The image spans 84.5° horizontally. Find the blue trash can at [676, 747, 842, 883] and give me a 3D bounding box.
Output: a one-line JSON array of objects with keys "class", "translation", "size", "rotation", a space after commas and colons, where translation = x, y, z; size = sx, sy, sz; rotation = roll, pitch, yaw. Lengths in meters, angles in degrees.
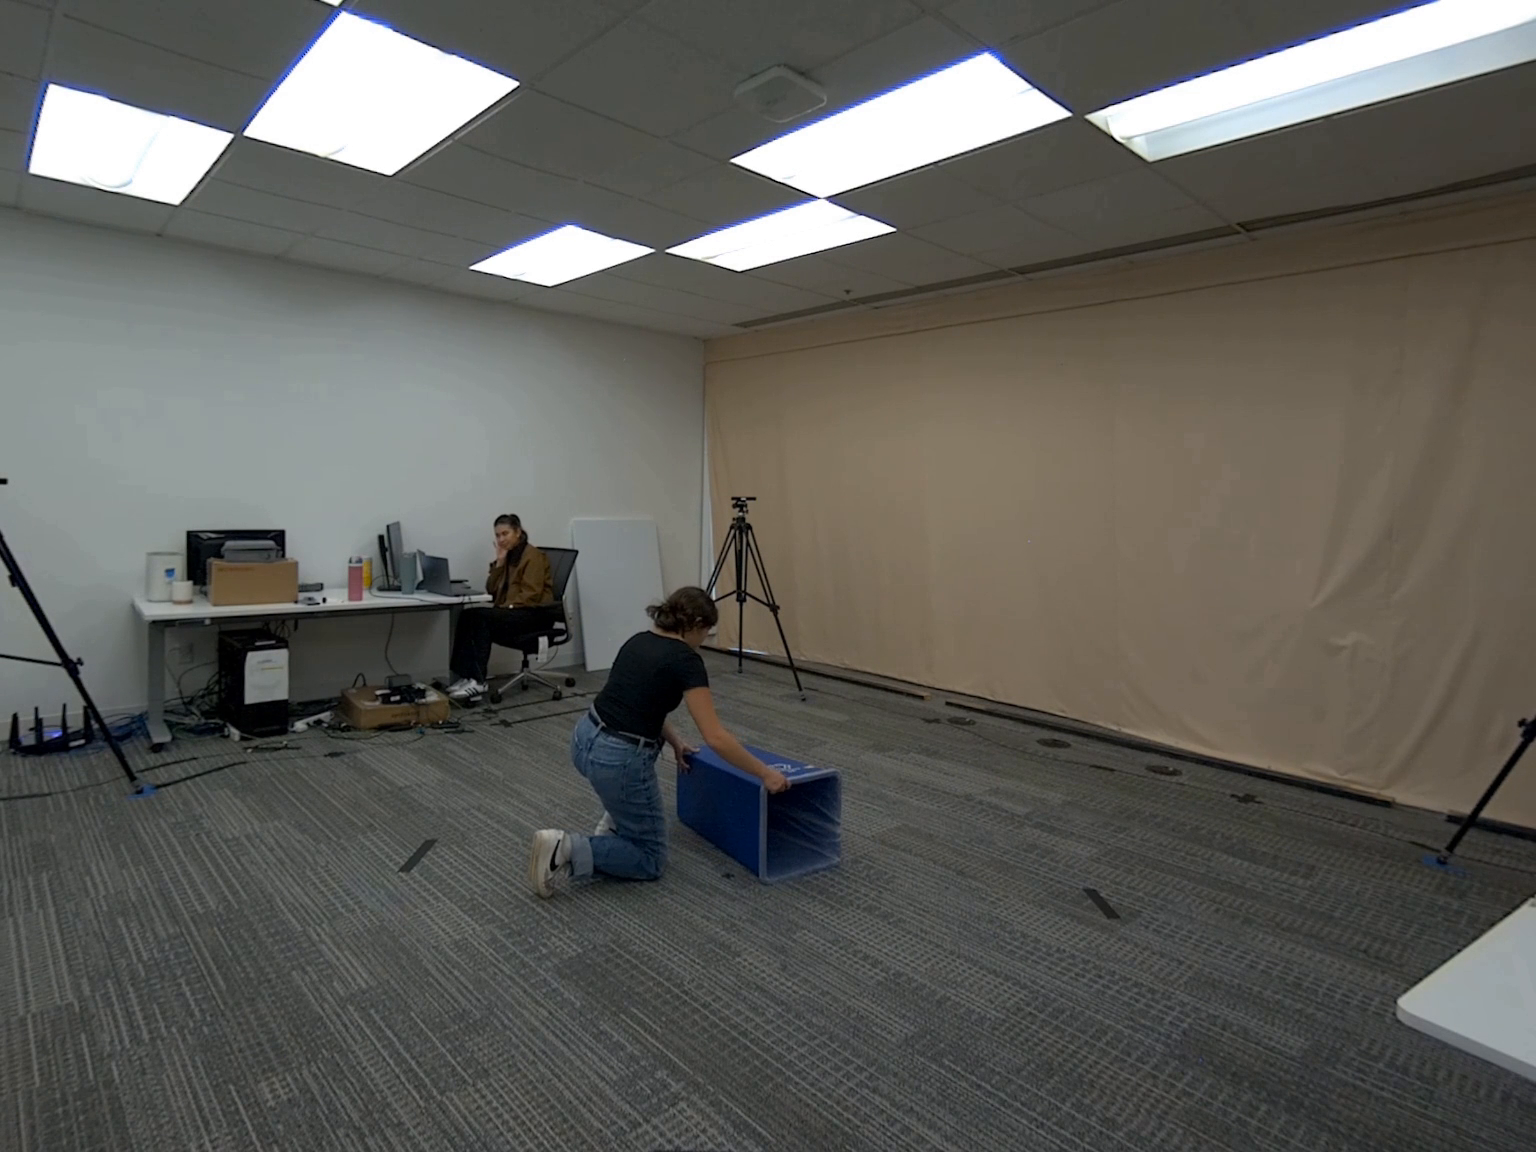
[{"class": "blue trash can", "translation": [-0.079, 0.916, 3.415], "size": [0.366, 0.378, 0.729], "rotation": [-2, 2, -34]}]
